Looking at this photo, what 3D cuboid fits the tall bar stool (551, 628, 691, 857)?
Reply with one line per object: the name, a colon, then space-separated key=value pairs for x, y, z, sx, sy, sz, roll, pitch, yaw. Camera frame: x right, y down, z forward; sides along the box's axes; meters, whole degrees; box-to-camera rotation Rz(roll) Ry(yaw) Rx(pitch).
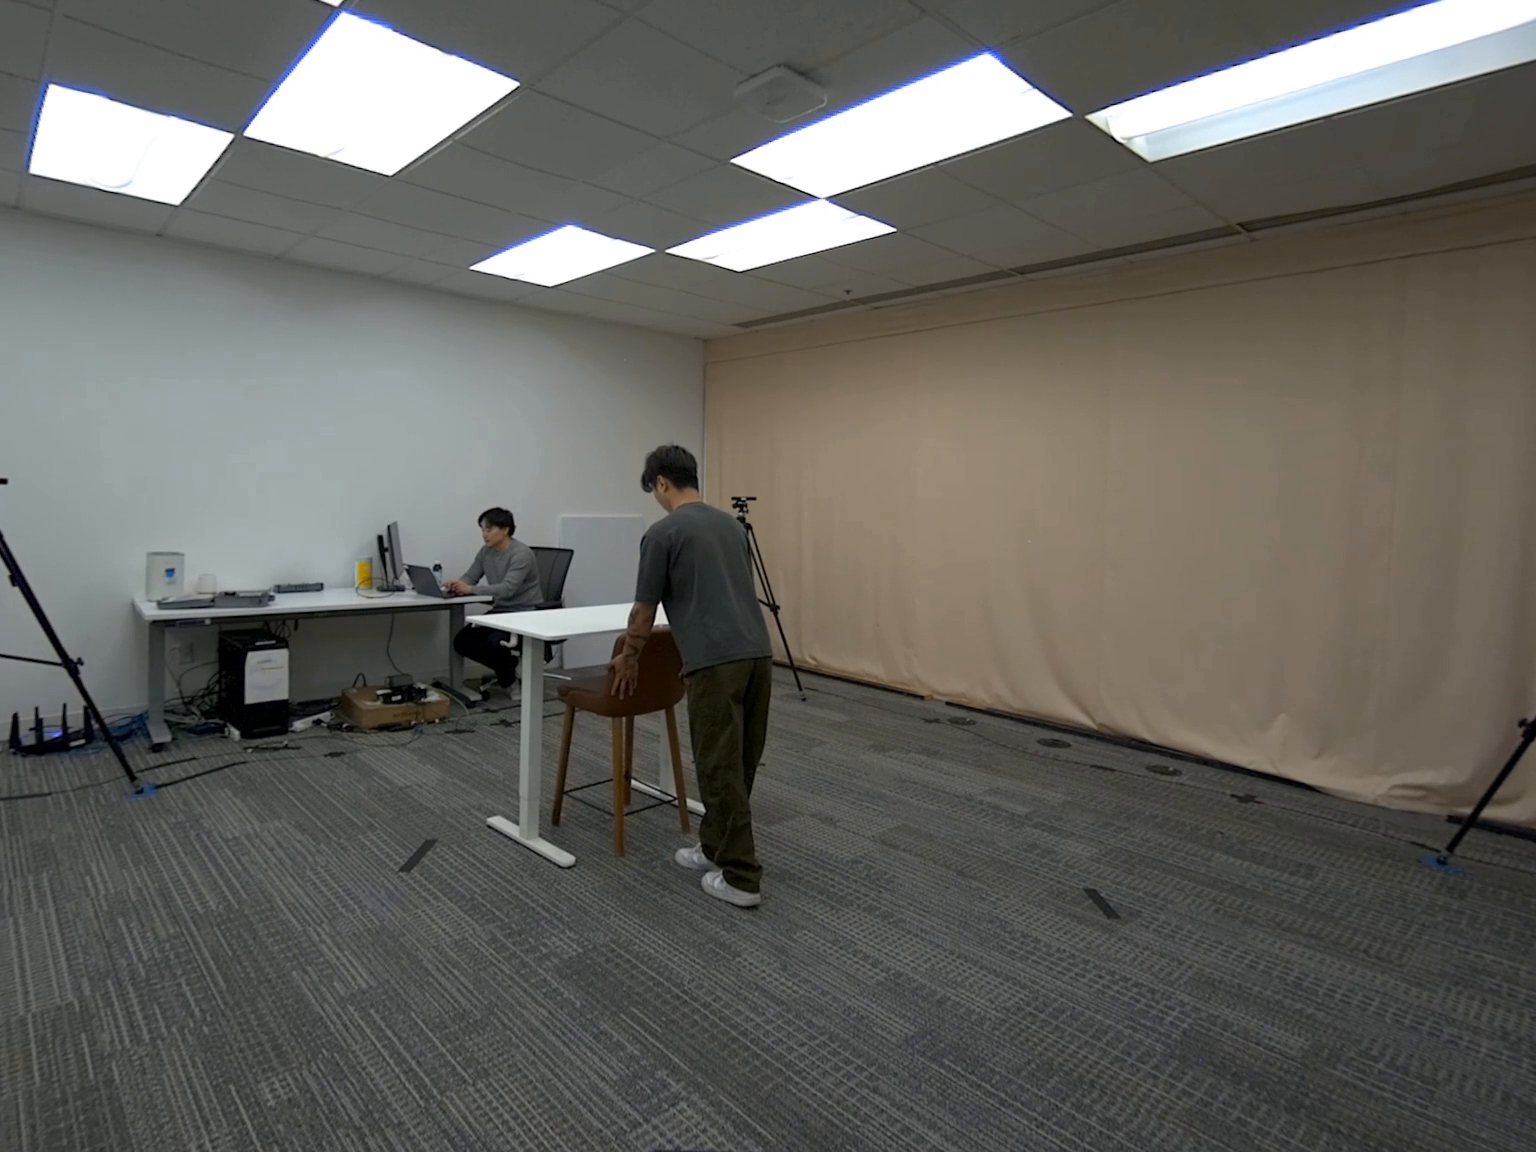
tall bar stool: x=-0.597 y=0.625 z=3.498 sx=0.480 sy=0.887 sz=0.446 roll=8 pitch=7 yaw=43
